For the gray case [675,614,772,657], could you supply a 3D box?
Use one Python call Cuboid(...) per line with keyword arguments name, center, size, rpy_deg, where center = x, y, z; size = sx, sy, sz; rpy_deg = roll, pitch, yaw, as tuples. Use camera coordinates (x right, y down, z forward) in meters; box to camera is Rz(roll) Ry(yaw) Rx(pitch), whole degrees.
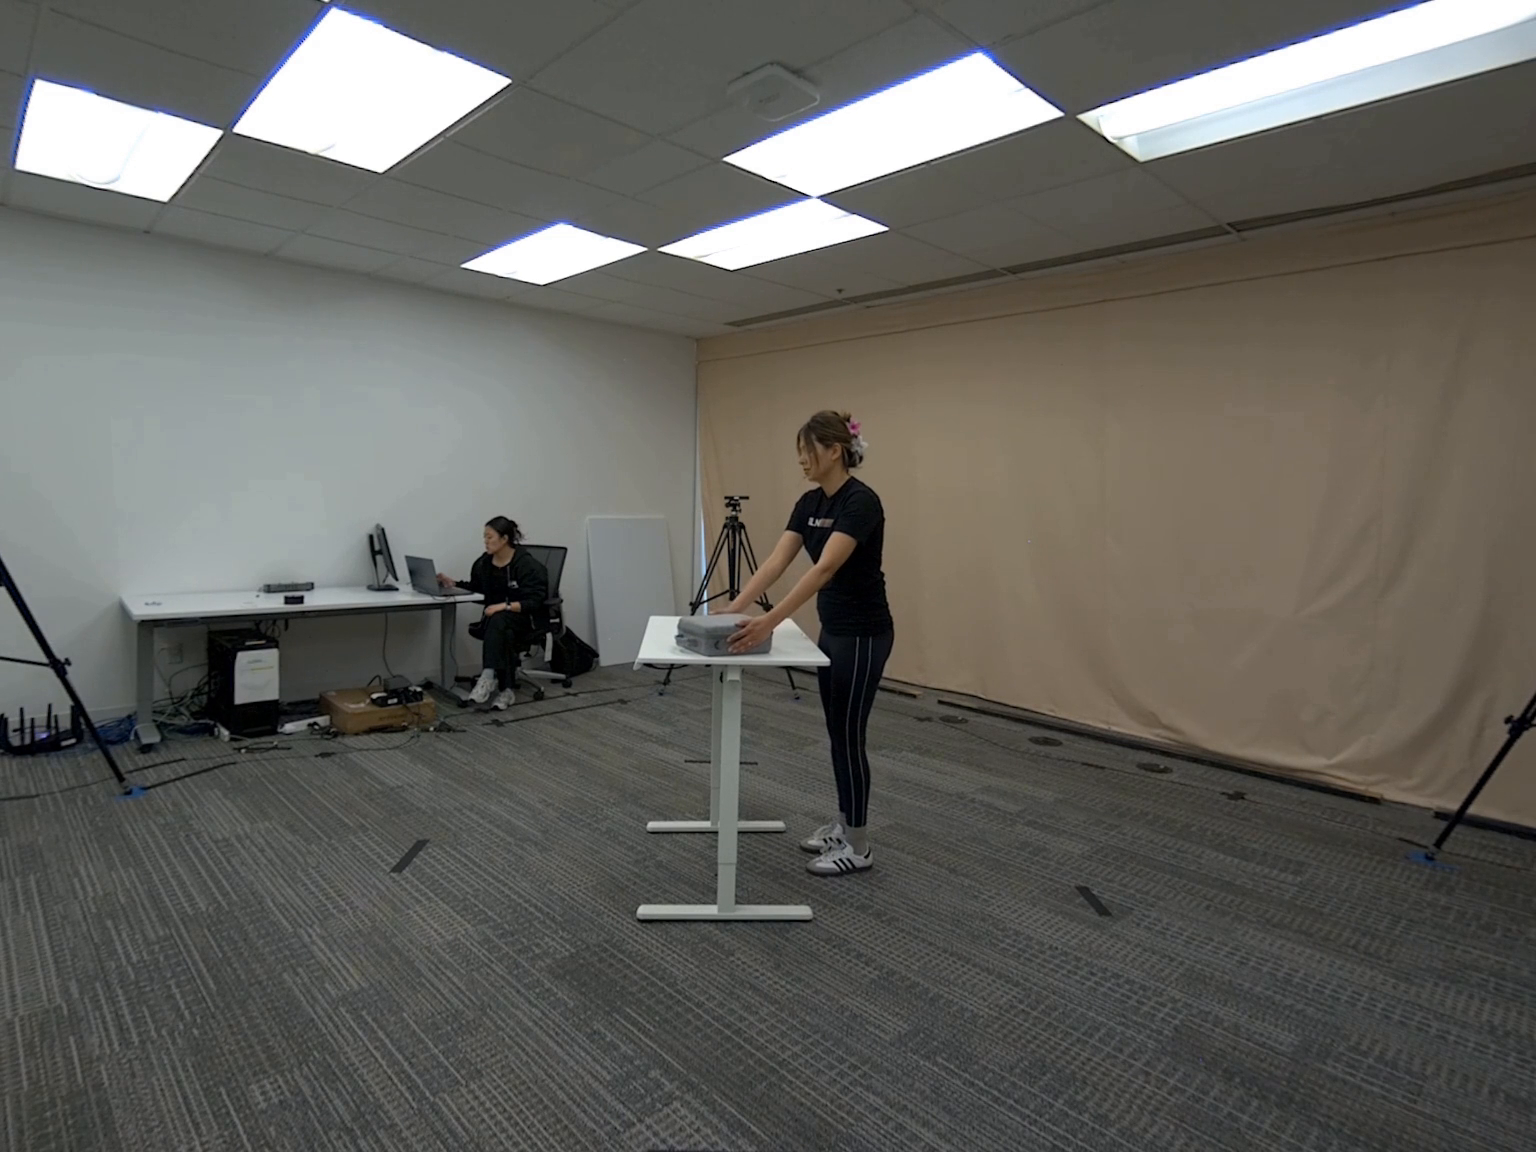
Cuboid(name="gray case", center=(-0.159, 0.196, 2.794), size=(0.256, 0.104, 0.262), rpy_deg=(-1, 6, -25))
